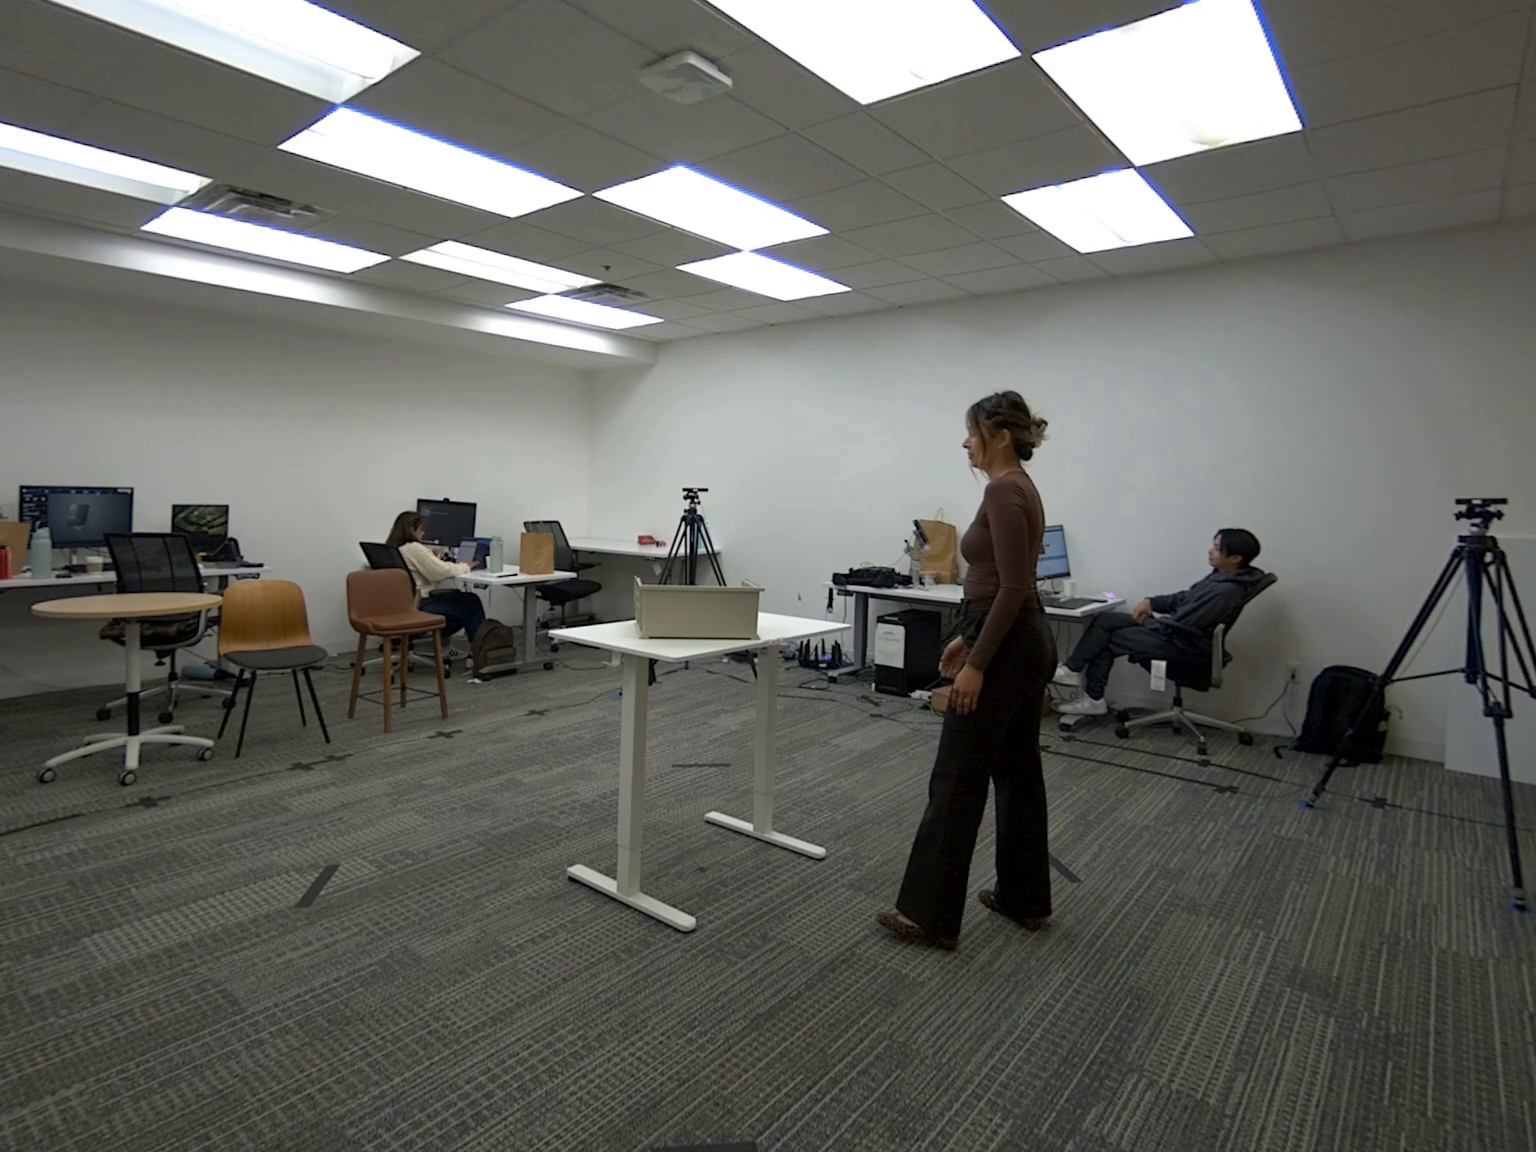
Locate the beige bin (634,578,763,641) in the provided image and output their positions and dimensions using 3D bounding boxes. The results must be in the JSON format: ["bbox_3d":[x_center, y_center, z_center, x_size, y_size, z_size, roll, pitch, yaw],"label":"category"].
[{"bbox_3d":[-0.266,0.108,3.009,0.418,0.188,0.383,2,6,-10],"label":"beige bin"}]
